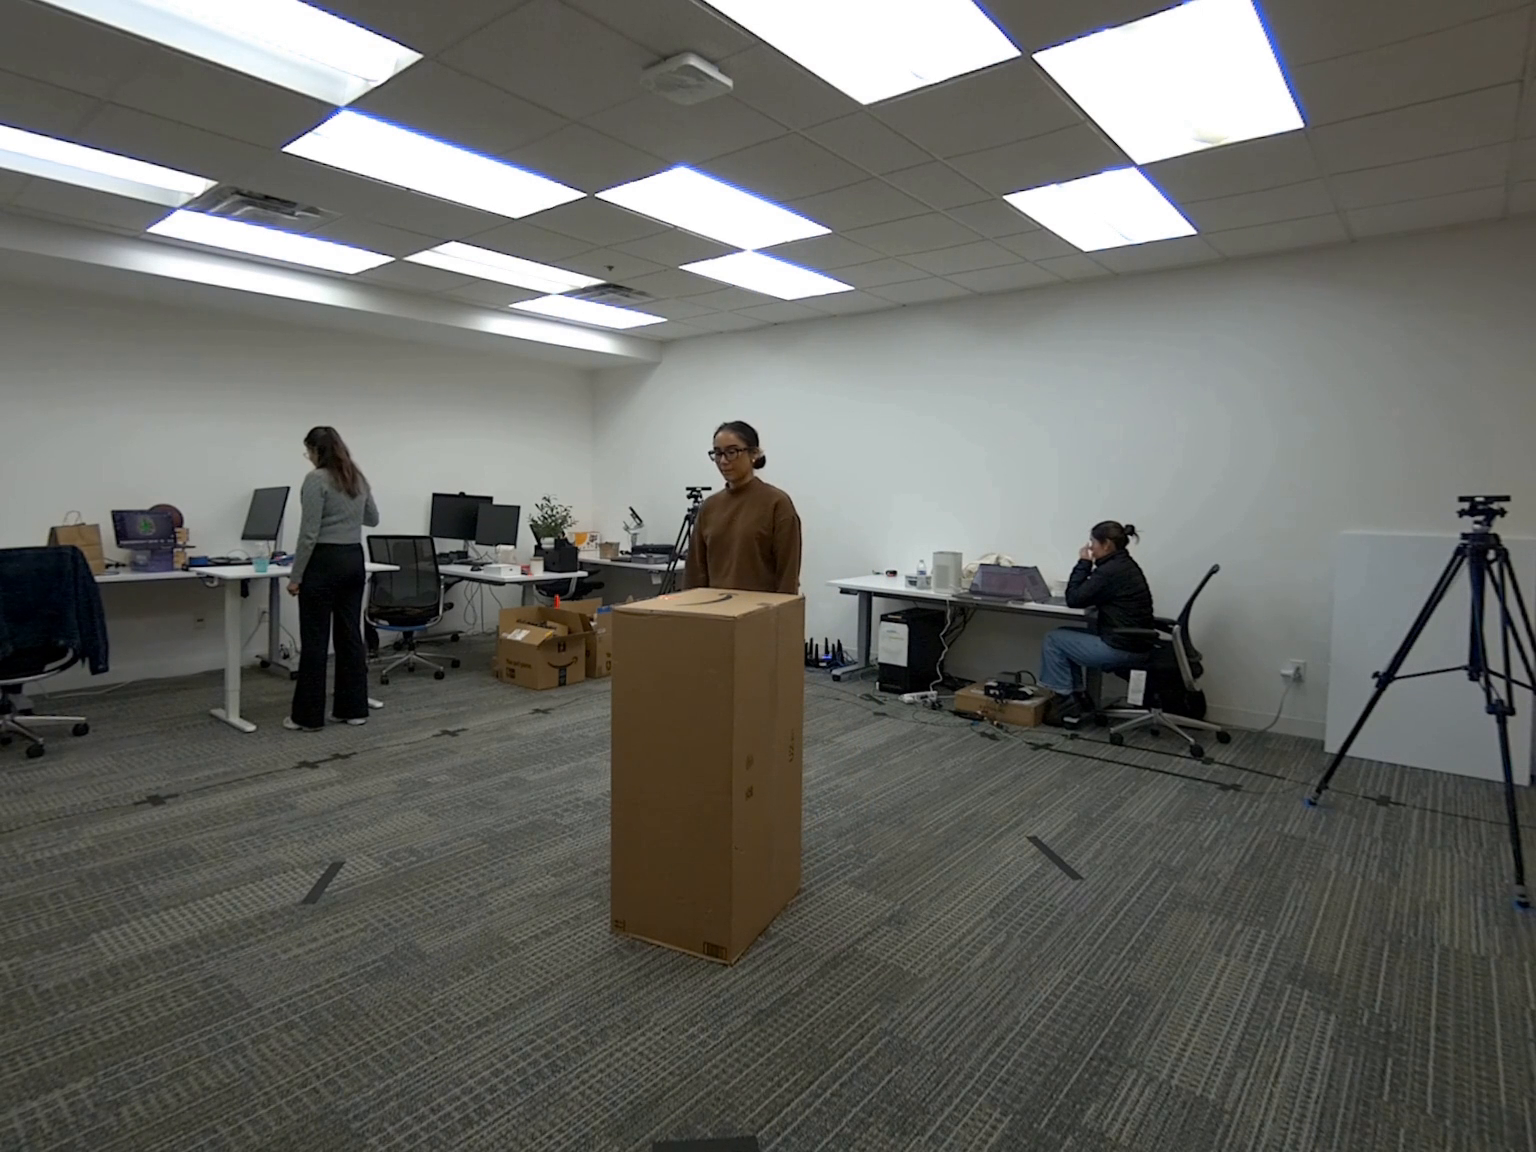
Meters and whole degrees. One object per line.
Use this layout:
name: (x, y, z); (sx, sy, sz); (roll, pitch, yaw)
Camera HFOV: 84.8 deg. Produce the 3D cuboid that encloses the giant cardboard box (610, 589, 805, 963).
giant cardboard box: (-0.197, 0.588, 2.783); (0.437, 1.023, 0.564); (2, 3, 25)
